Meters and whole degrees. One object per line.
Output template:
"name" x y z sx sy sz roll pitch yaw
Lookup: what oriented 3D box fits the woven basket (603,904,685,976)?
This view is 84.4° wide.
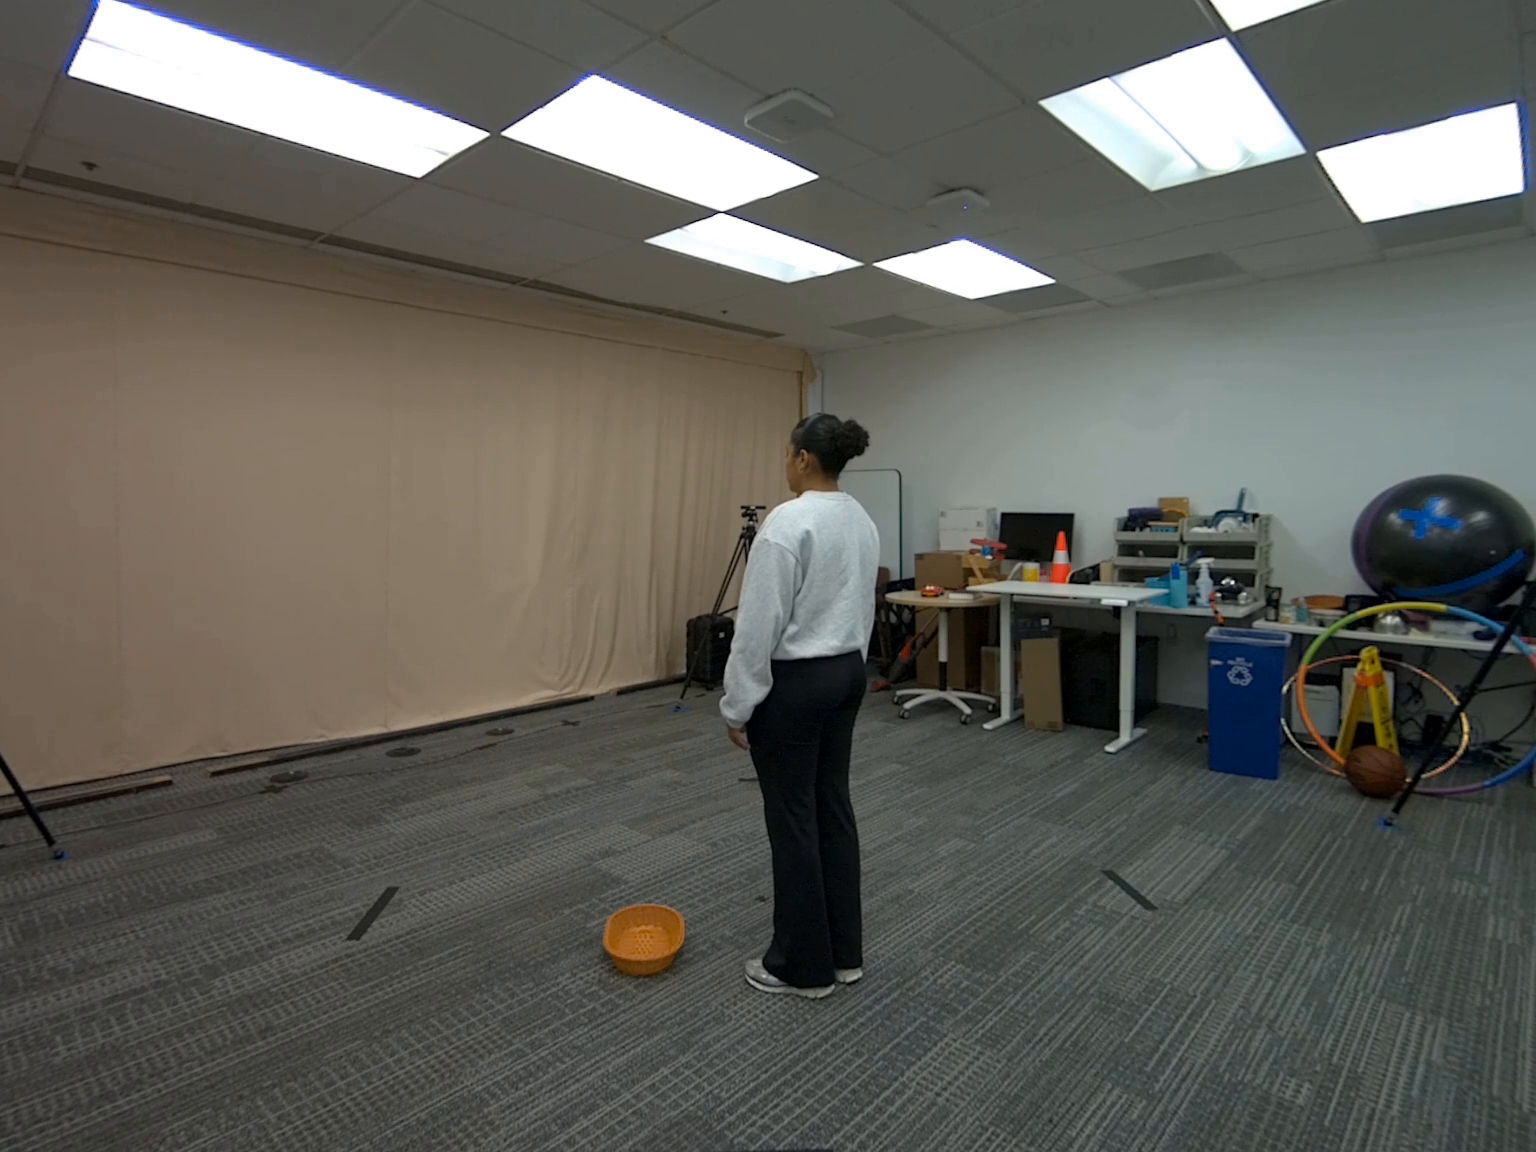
"woven basket" -0.385 1.135 2.637 0.252 0.073 0.351 0 4 -2
